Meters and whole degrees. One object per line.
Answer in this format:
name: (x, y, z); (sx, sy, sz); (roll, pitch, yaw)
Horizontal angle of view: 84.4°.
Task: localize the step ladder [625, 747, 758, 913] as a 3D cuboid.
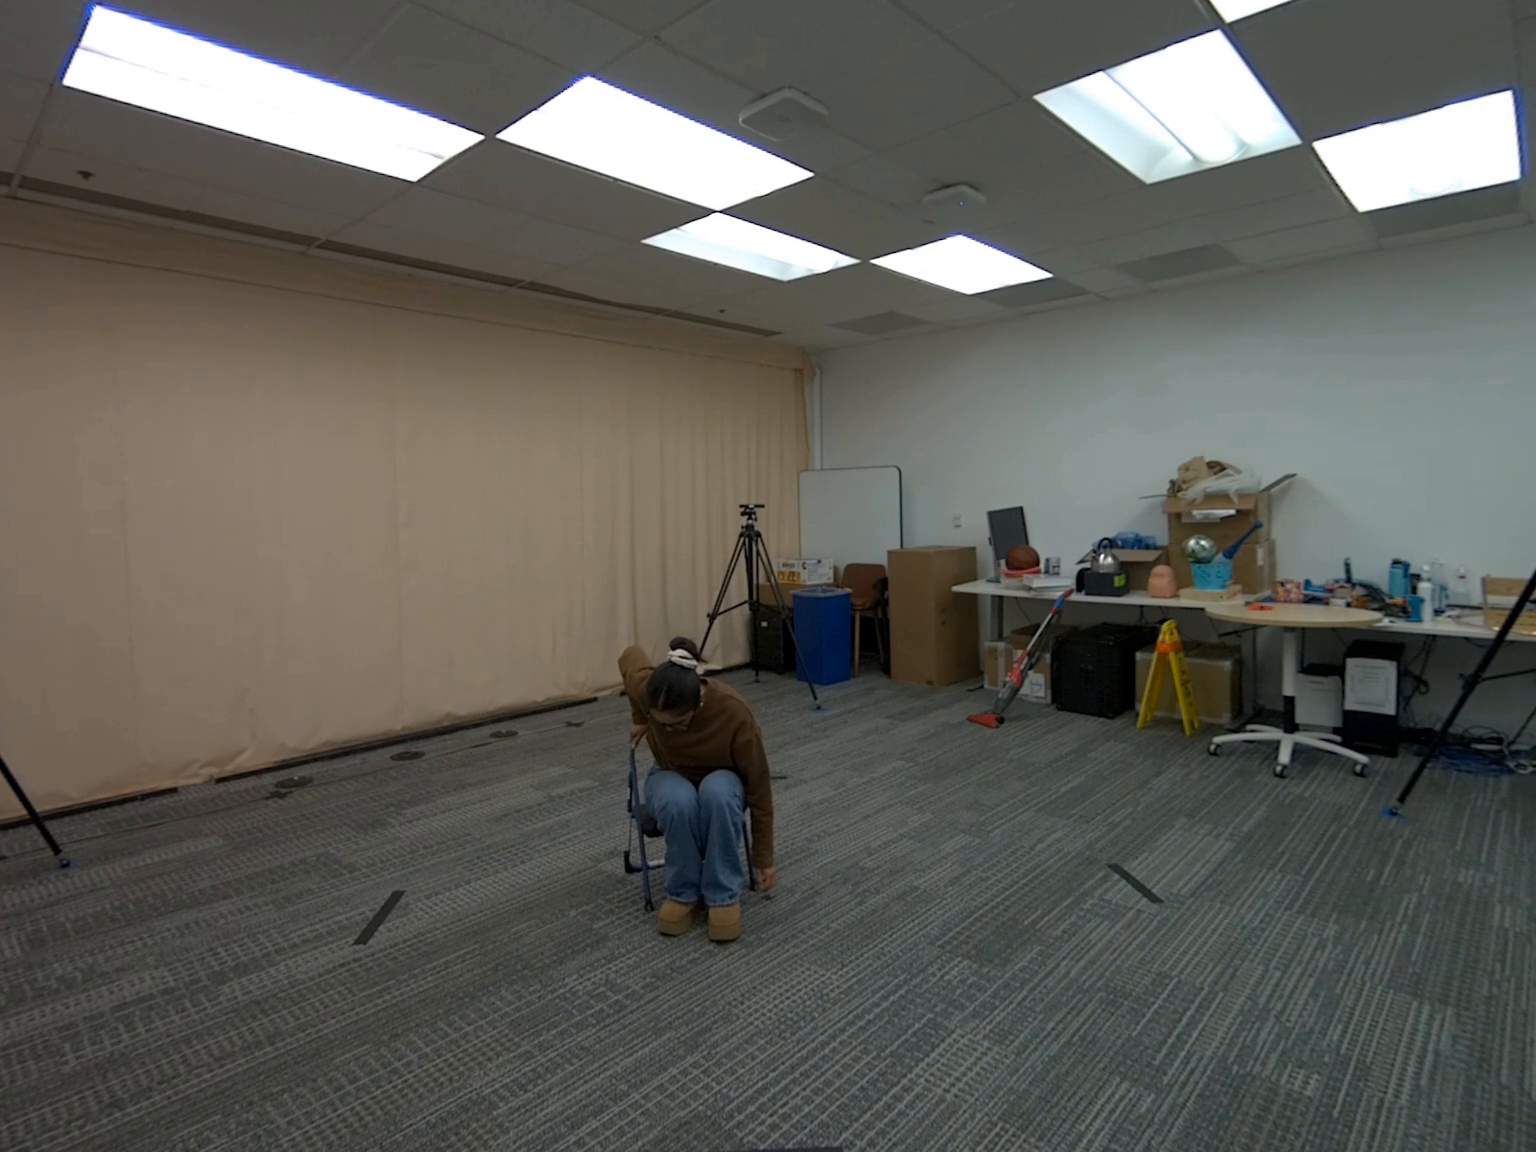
step ladder: (-0.299, 0.835, 3.121); (0.421, 0.604, 0.357); (-3, 4, -22)
